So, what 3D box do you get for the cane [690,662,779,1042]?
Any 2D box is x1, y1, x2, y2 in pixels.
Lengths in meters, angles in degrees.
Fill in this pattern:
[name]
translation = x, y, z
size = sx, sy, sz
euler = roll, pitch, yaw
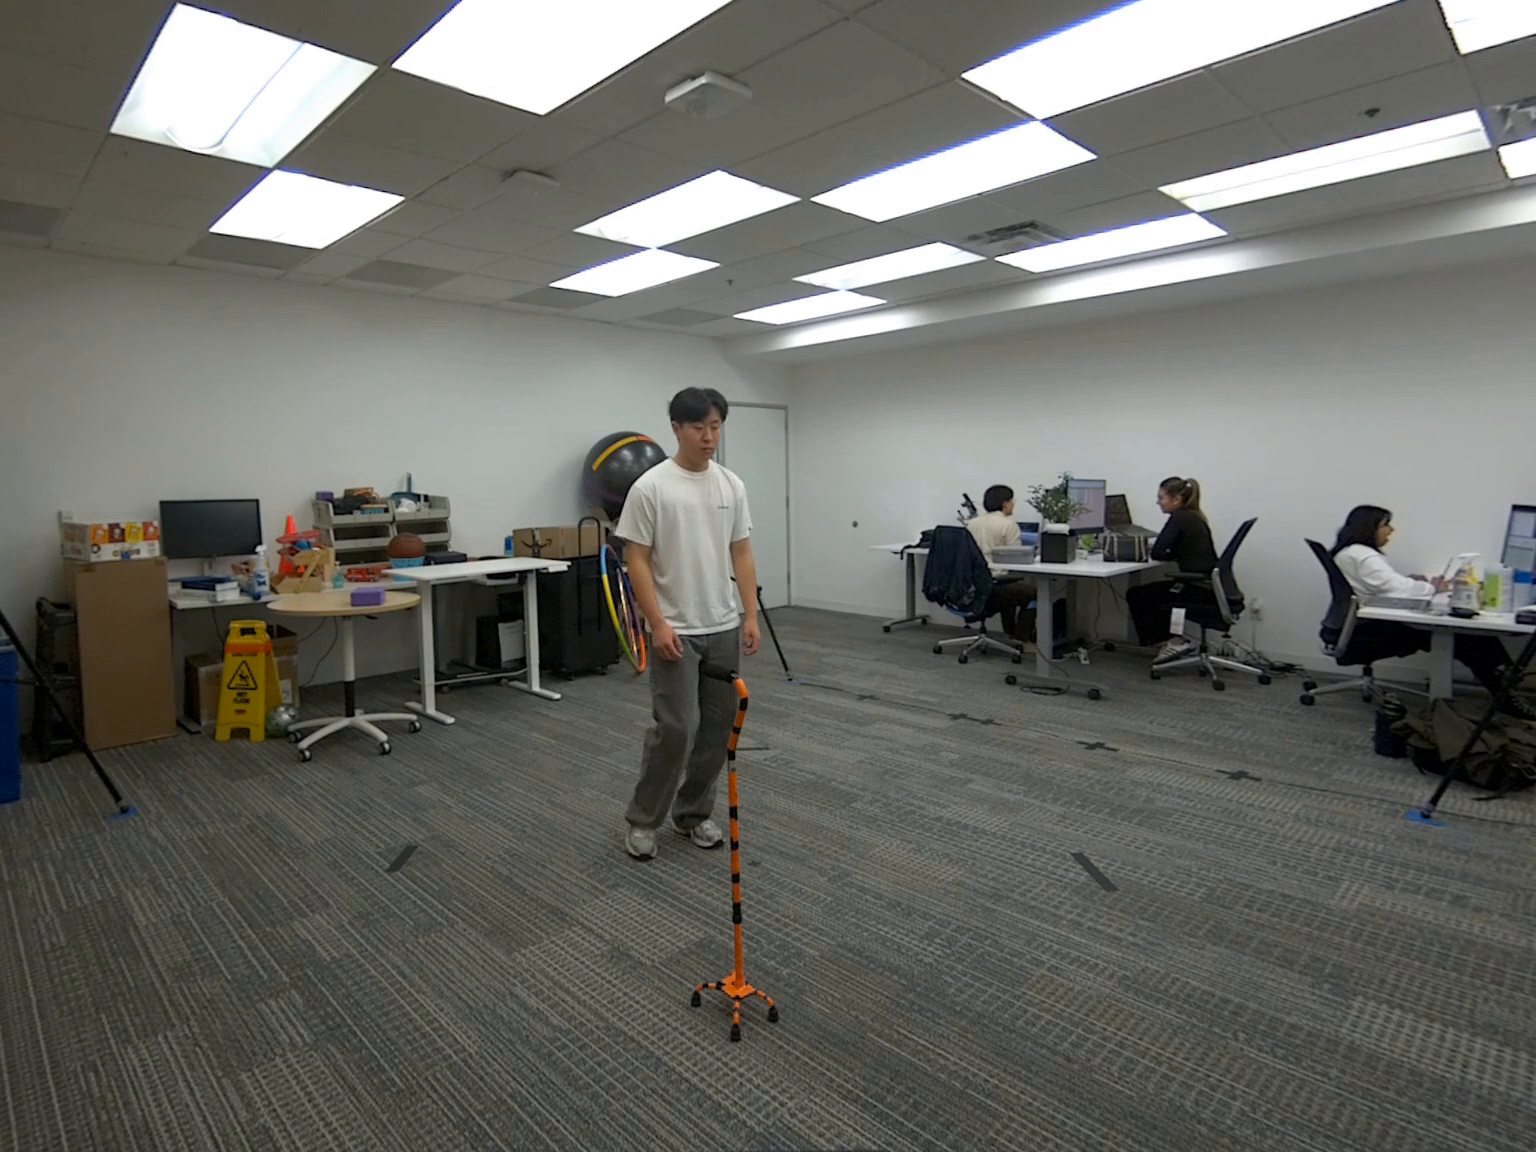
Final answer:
[cane]
translation = -0.098, 0.702, 2.217
size = 0.148, 0.904, 0.212
euler = -5, 5, -36
